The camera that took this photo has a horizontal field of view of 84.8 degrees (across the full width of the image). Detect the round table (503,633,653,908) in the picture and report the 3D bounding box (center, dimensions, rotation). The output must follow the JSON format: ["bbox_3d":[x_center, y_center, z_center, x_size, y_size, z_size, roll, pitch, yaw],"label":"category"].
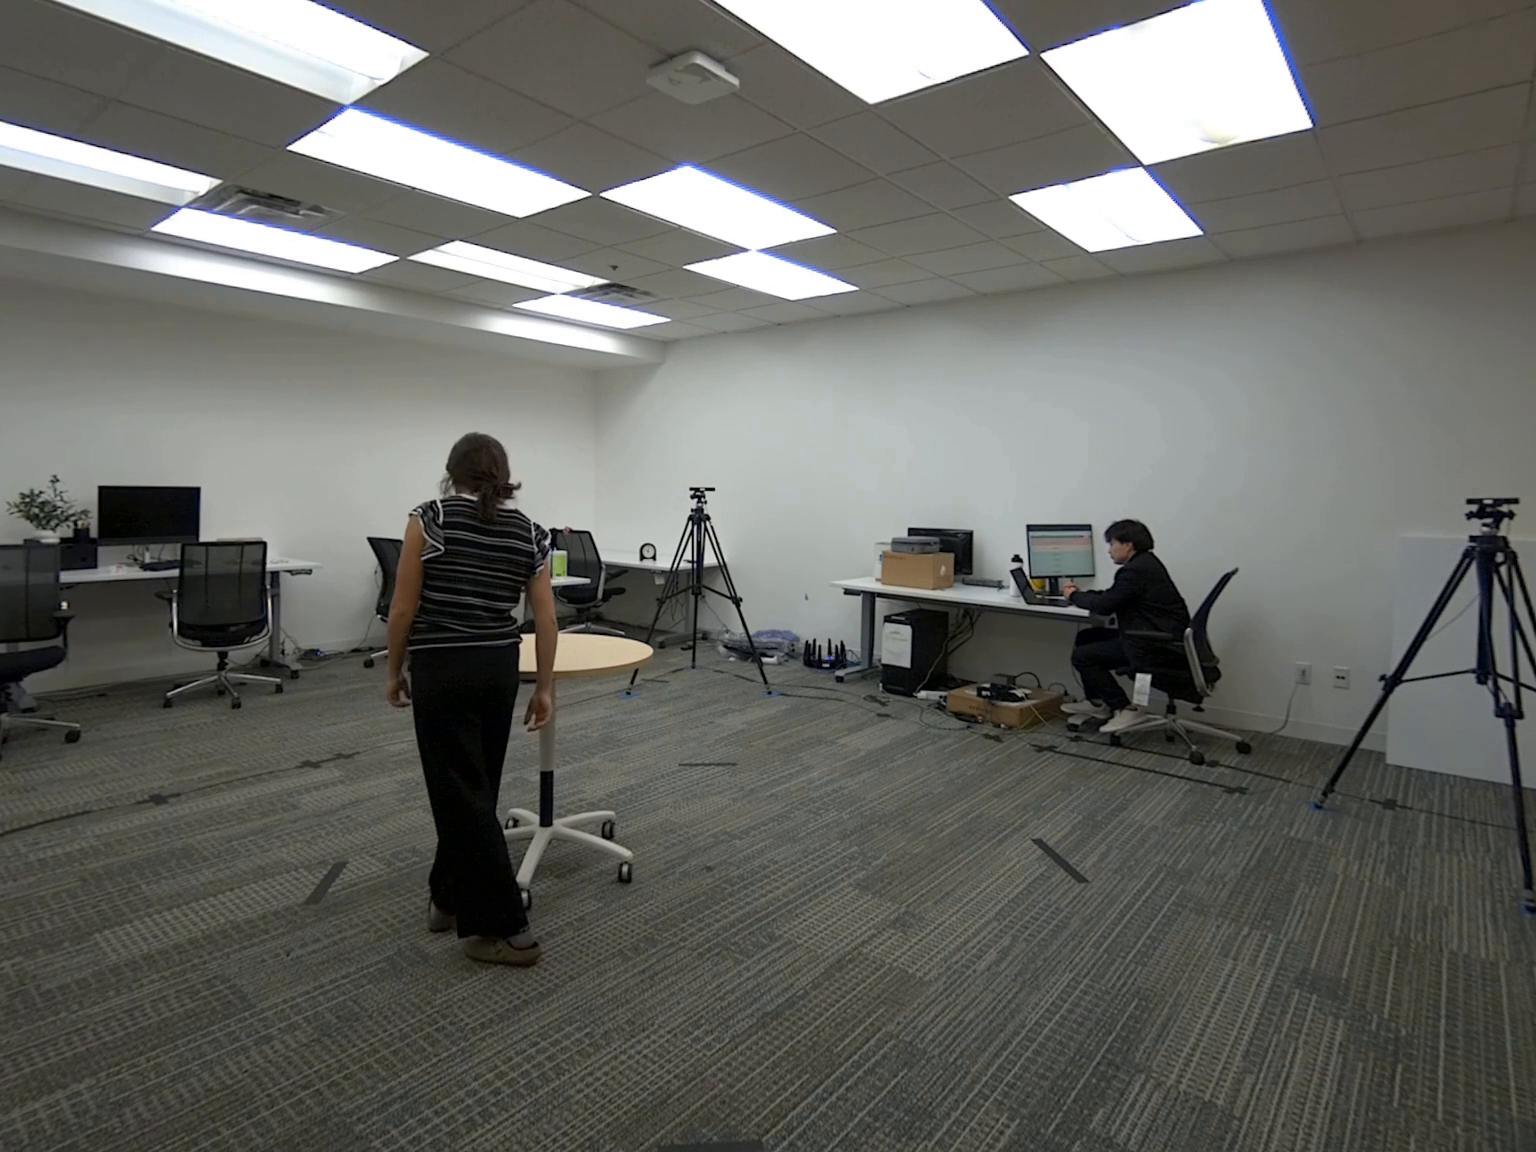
[{"bbox_3d":[-0.815,0.666,3.112,0.763,0.792,0.767,1,3,-2],"label":"round table"}]
